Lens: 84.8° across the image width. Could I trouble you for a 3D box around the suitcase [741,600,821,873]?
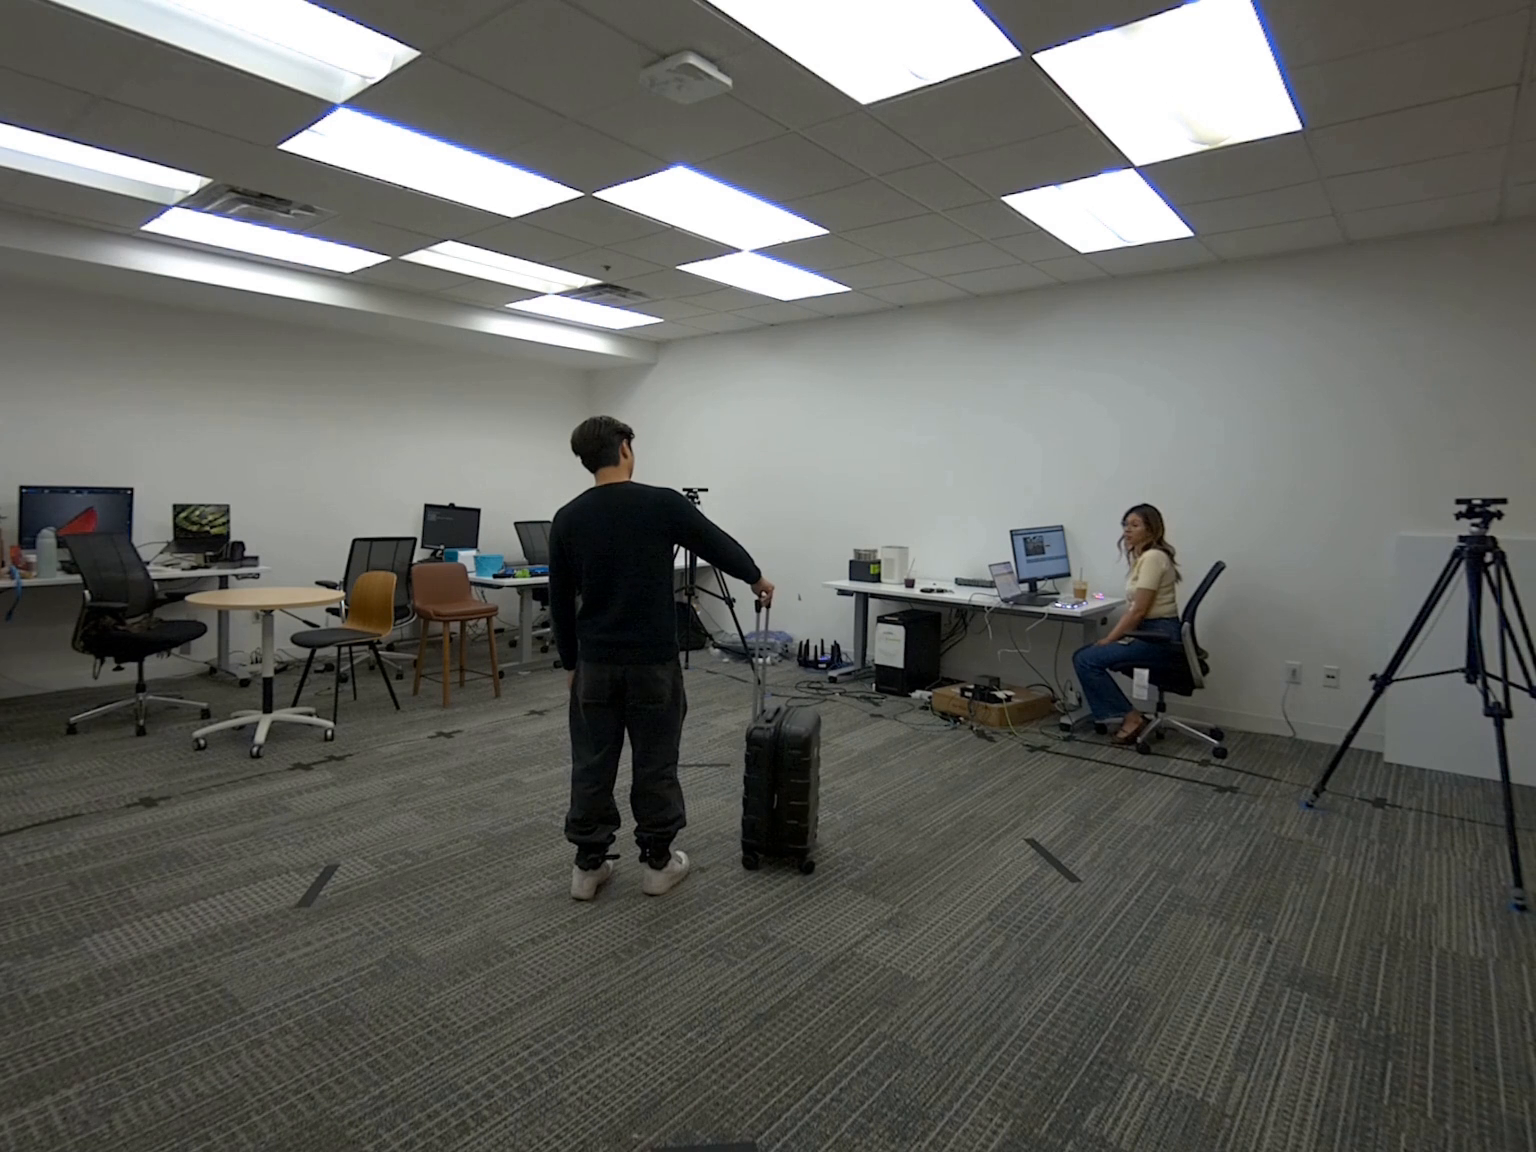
[{"bbox_3d":[0.063,0.590,3.238,0.260,0.975,0.381,3,4,9],"label":"suitcase"}]
